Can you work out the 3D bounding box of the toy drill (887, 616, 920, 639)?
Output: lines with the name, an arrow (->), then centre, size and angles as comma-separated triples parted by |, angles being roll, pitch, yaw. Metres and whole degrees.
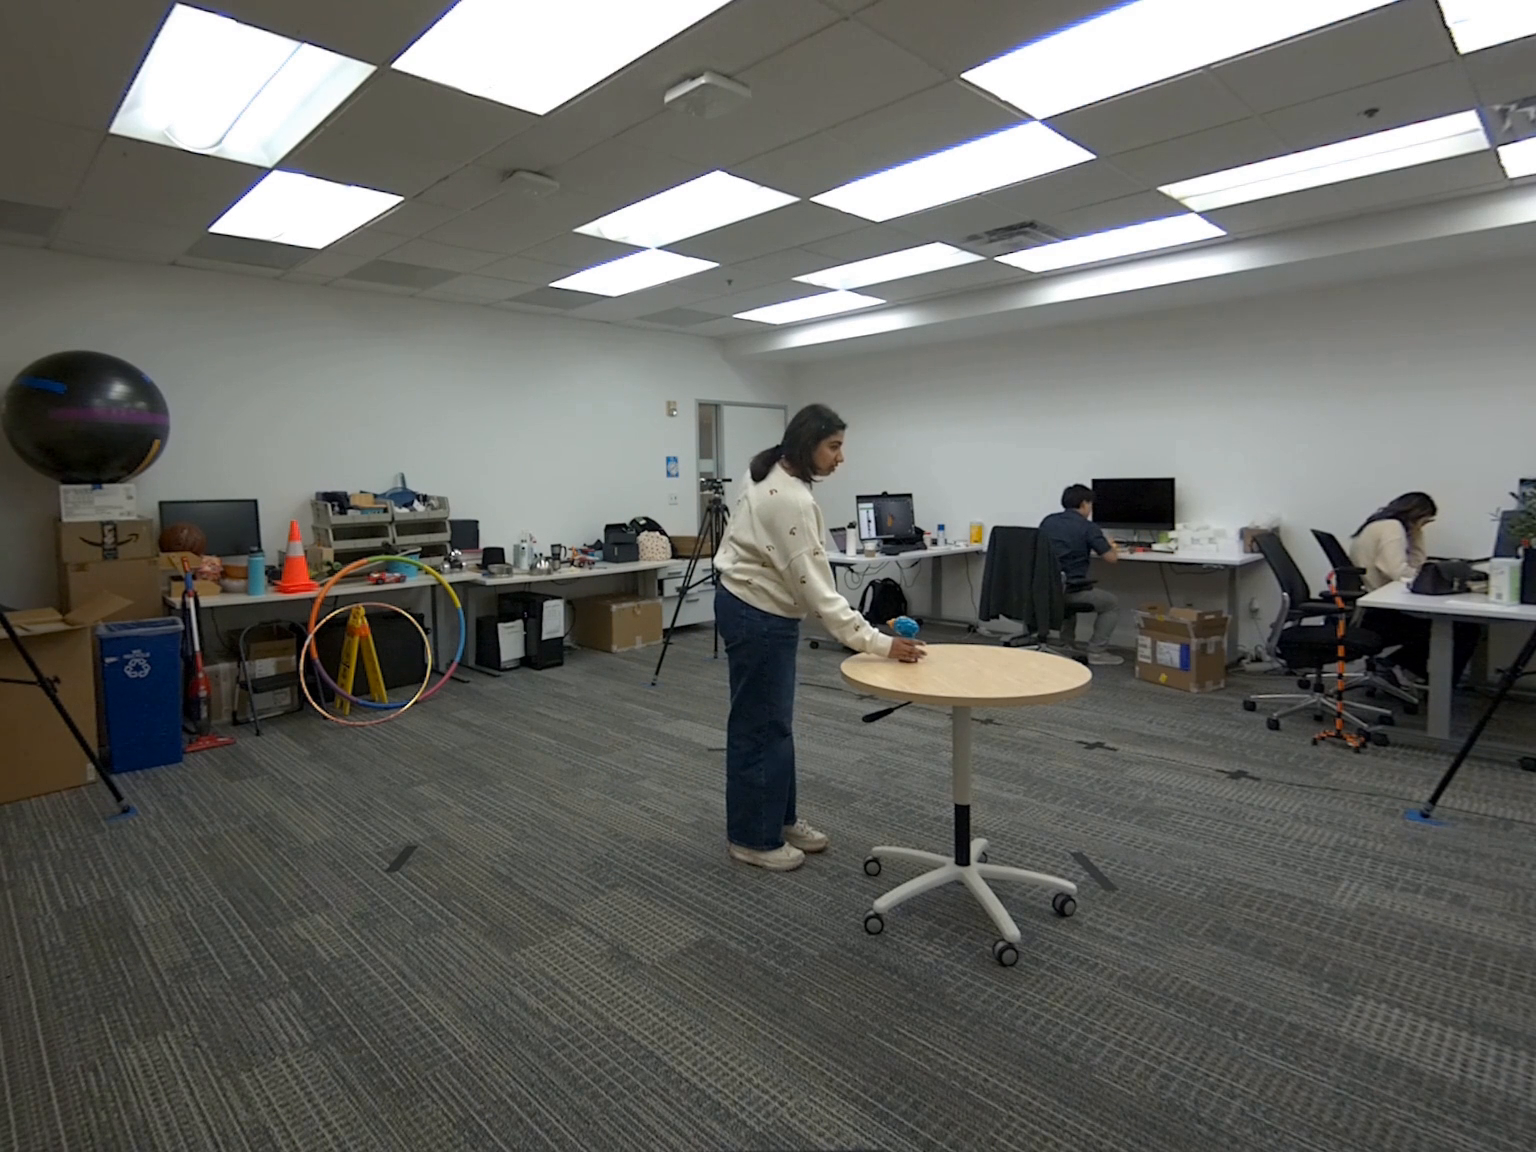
toy drill -> 0.455, 0.206, 2.874 | 0.060, 0.145, 0.174 | -5, 4, -29
